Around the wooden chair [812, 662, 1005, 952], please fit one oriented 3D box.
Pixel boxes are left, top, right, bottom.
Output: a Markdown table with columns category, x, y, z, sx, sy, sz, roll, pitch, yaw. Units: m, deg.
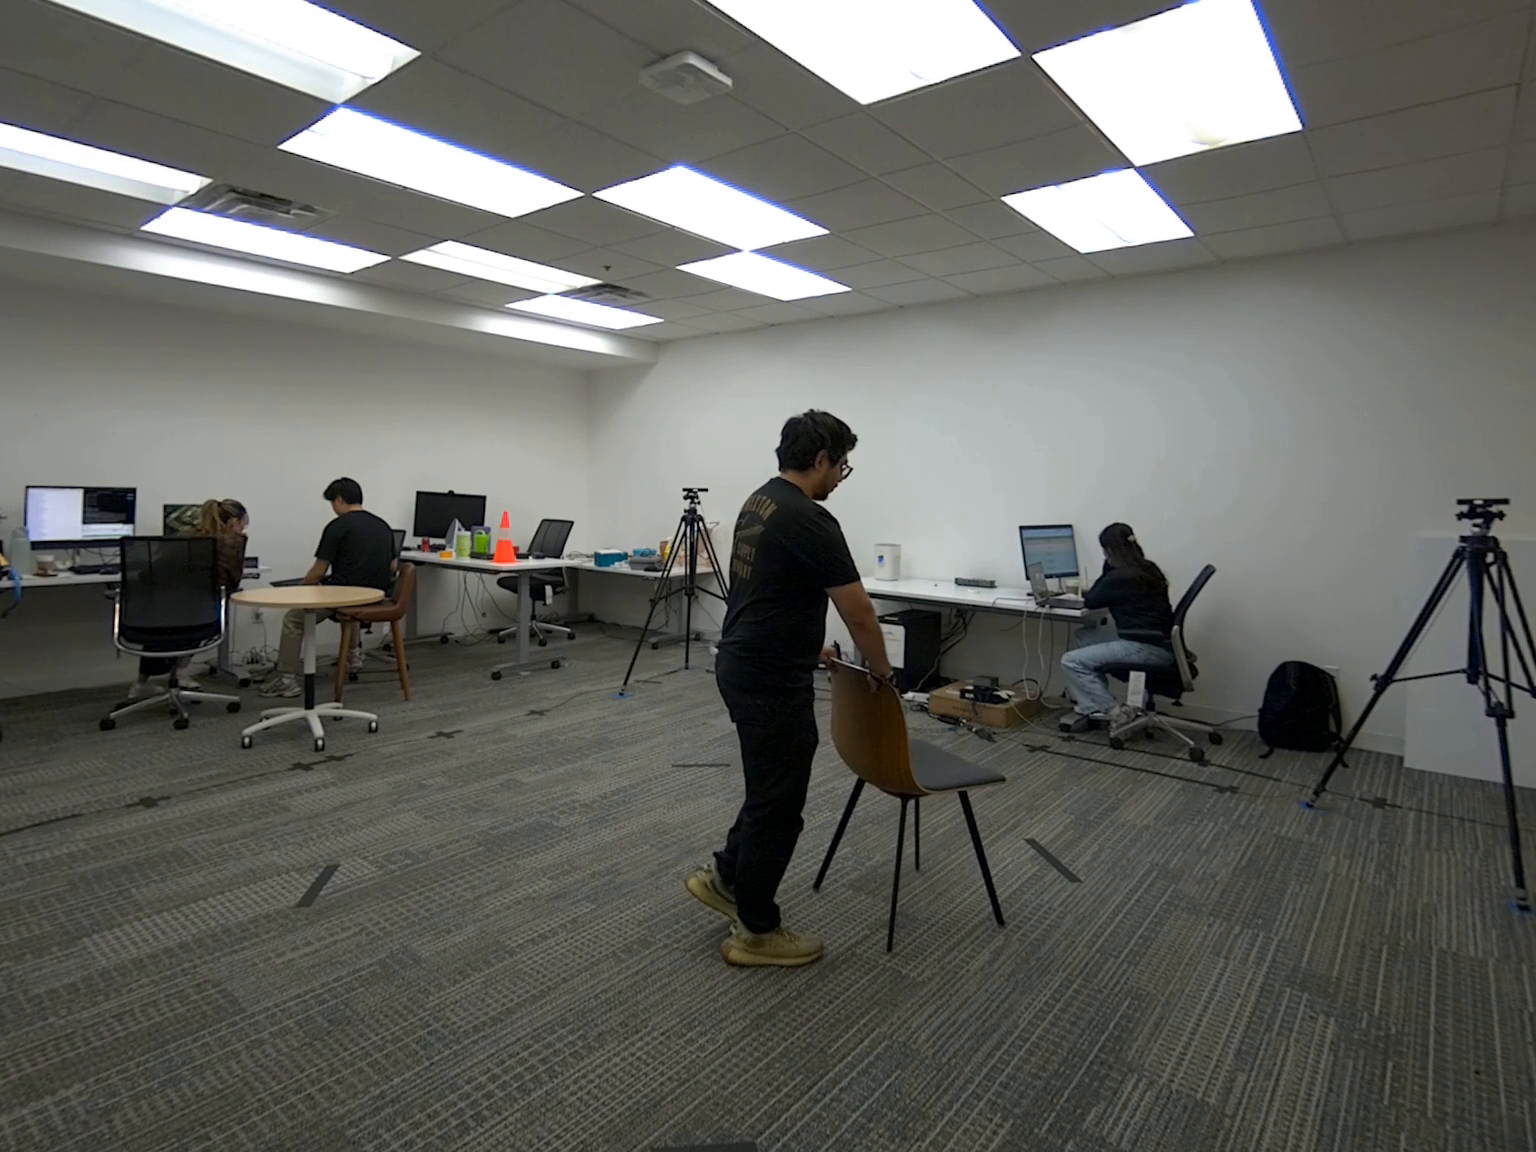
| category | x | y | z | sx | sy | sz | roll | pitch | yaw |
| --- | --- | --- | --- | --- | --- | --- | --- | --- | --- |
| wooden chair | 0.474 | 0.680 | 2.844 | 0.511 | 0.873 | 0.491 | -5 | 5 | -26 |
